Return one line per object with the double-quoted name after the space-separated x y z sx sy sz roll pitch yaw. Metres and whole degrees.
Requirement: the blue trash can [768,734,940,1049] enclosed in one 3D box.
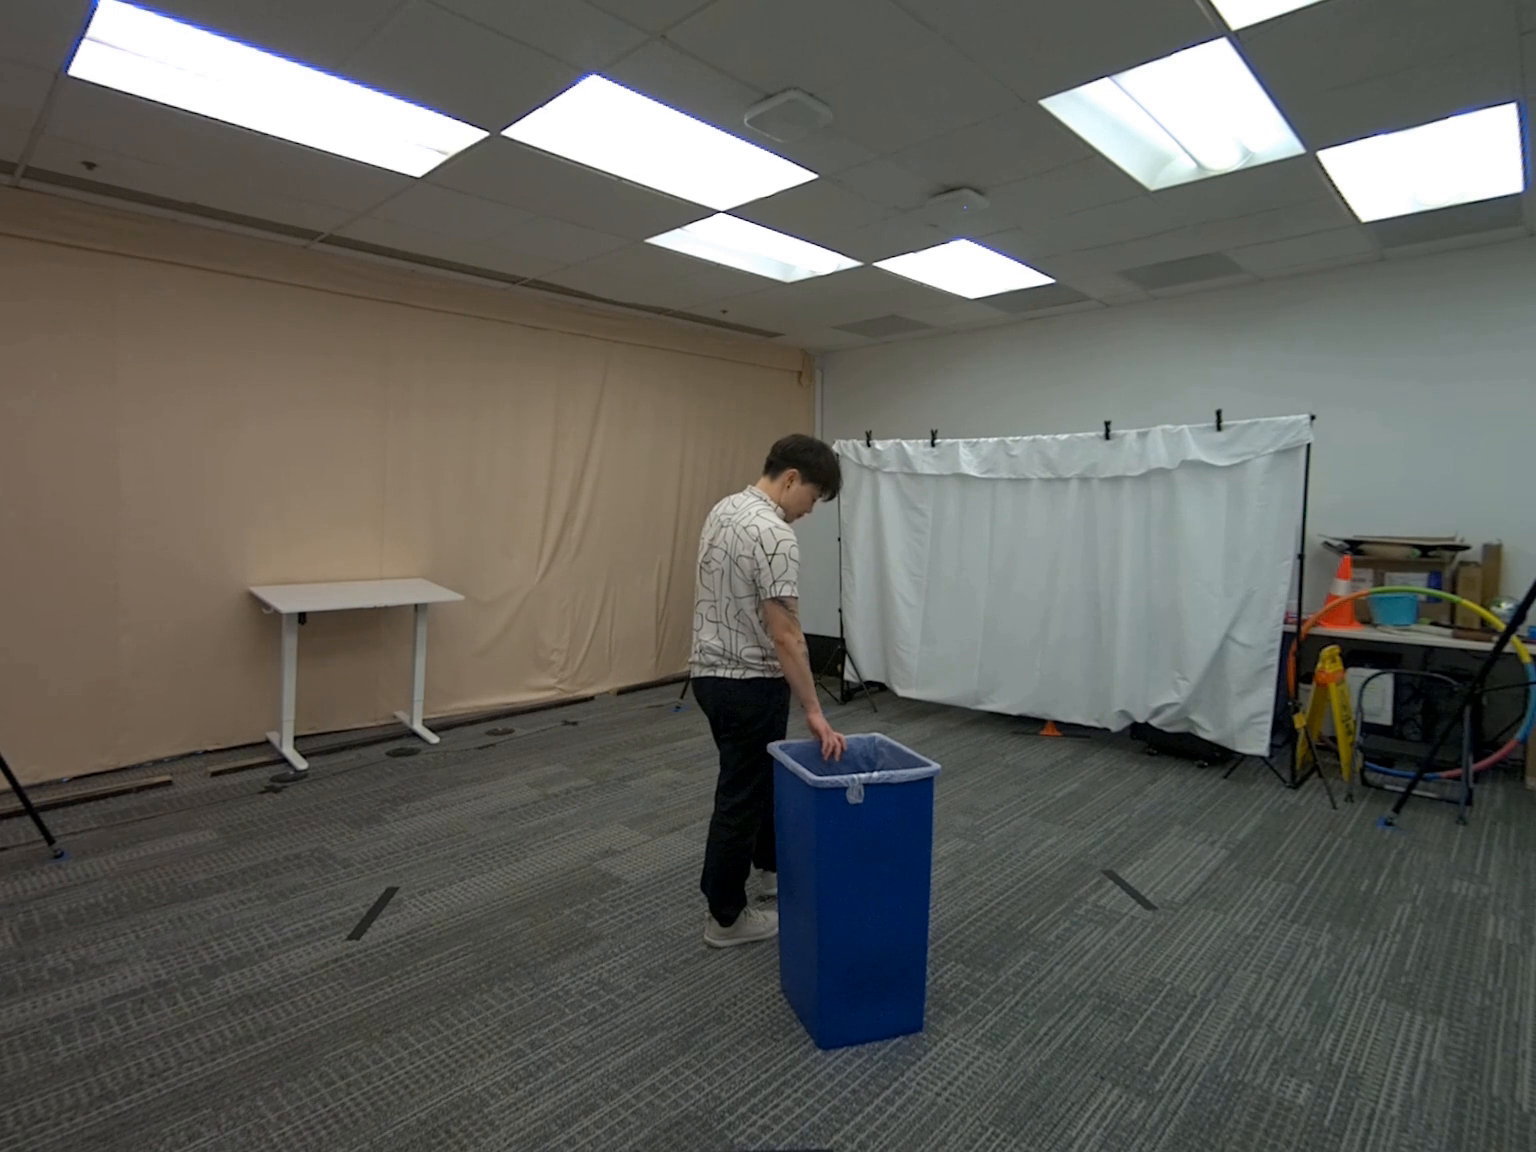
0.227 0.843 2.316 0.371 0.712 0.382 -1 3 -19 "blue trash can"
